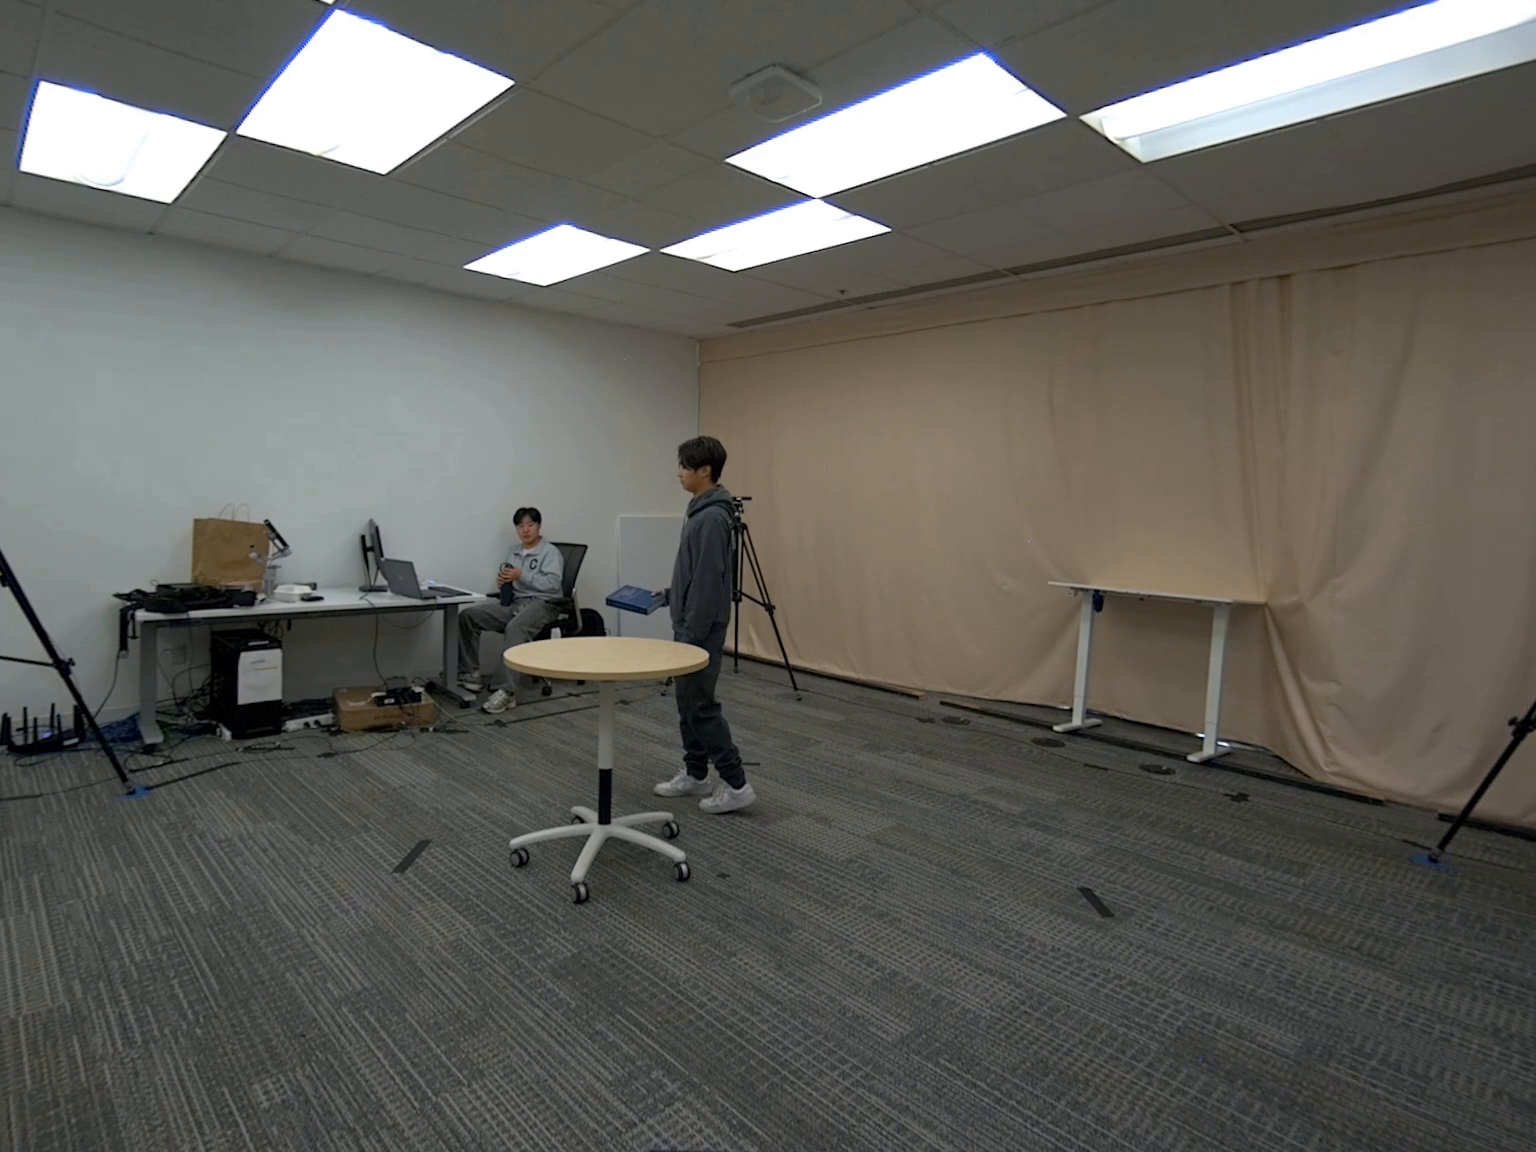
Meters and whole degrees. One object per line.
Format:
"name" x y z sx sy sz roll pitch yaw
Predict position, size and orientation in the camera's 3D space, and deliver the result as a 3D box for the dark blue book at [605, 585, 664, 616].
"dark blue book" -0.641 0.117 4.051 0.251 0.044 0.162 11 27 27
